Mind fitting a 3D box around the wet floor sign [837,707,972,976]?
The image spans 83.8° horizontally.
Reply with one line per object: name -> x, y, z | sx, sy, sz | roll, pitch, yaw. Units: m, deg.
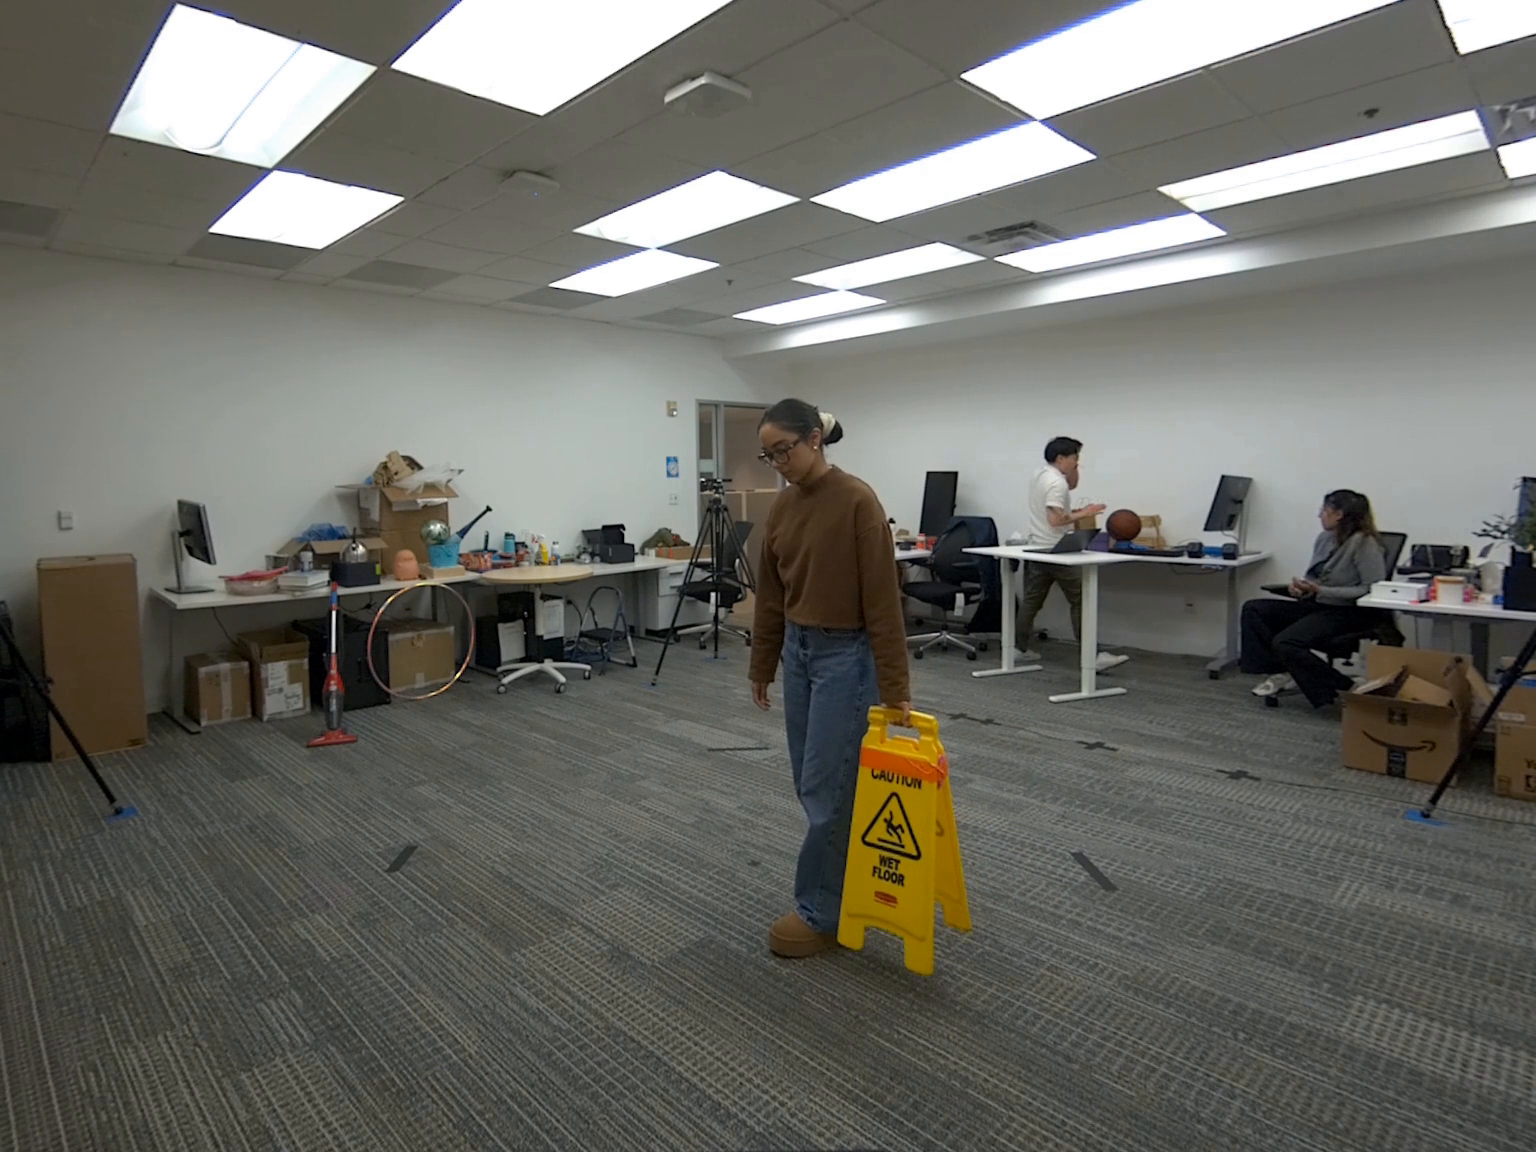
wet floor sign -> 0.388, 0.694, 2.365 | 0.290, 0.644, 0.282 | 3, 5, 37
